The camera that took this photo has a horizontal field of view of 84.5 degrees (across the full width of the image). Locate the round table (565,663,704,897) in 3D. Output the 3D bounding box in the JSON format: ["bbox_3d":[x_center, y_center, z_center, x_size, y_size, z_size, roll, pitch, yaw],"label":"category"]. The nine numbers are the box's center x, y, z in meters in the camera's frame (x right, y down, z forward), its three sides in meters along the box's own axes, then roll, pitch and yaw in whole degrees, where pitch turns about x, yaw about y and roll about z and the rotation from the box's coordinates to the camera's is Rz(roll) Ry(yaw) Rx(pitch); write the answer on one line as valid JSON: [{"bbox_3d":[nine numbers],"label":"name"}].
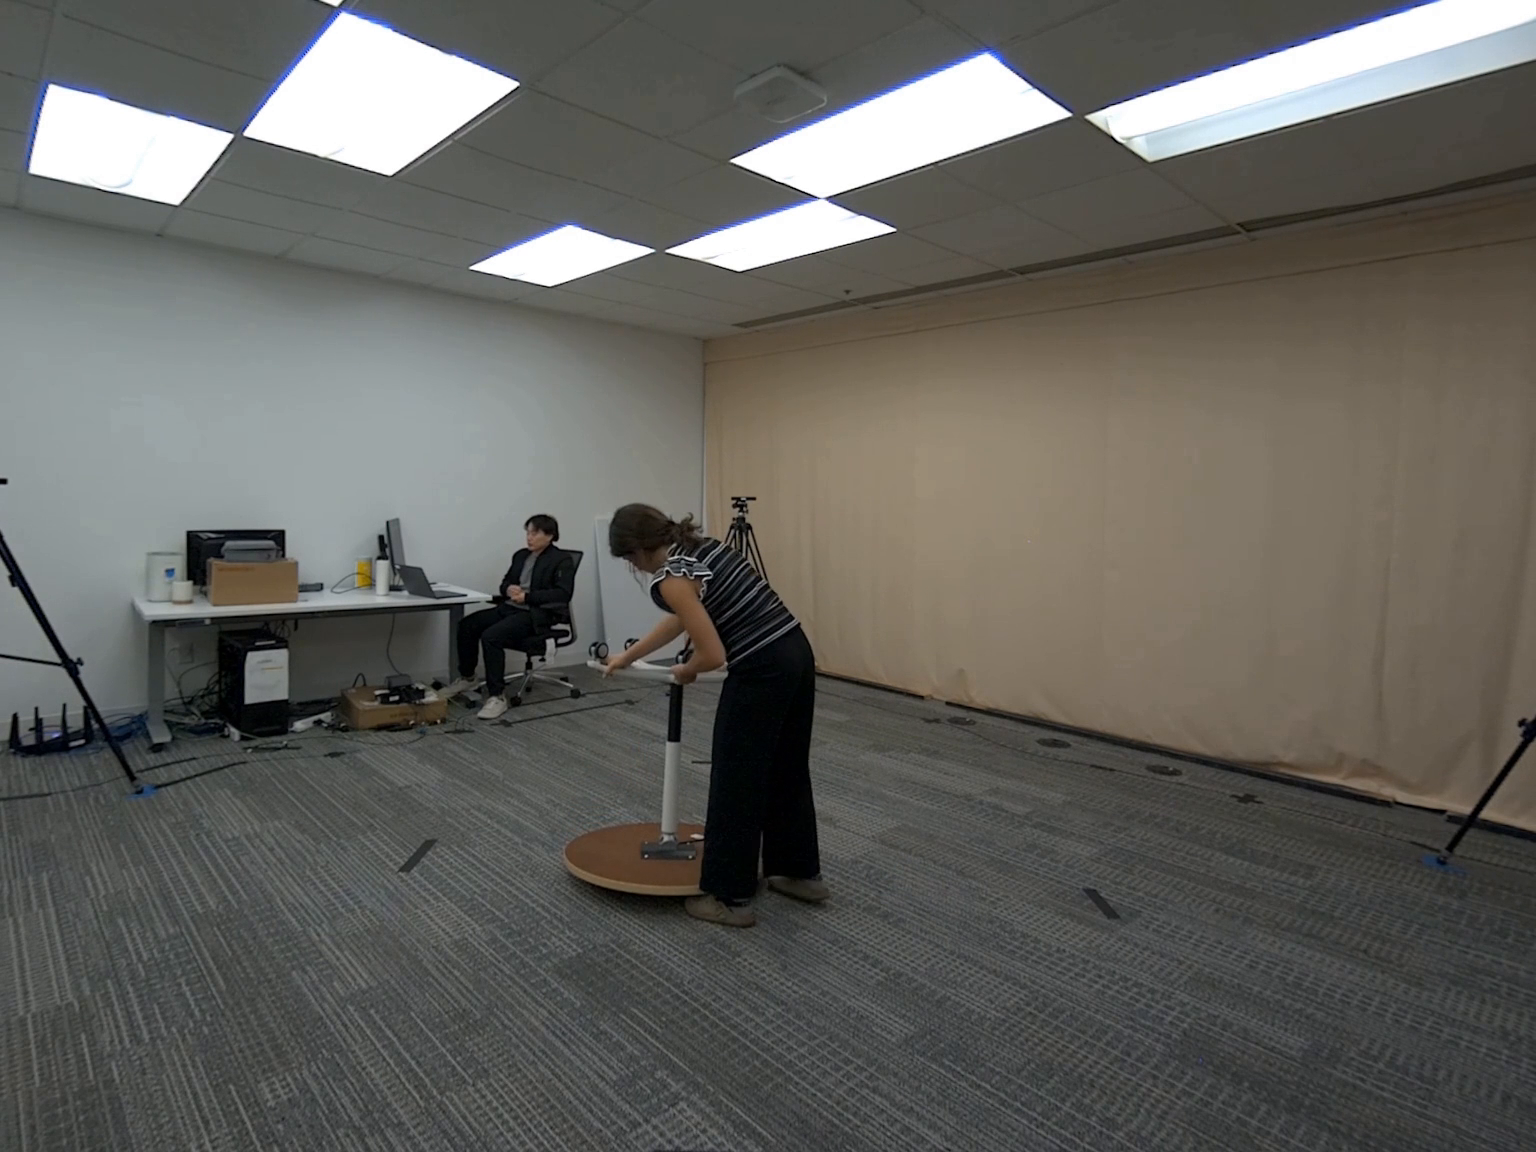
[{"bbox_3d":[-0.371,0.669,3.173,0.763,0.796,0.763,2,-2,-1],"label":"round table"}]
